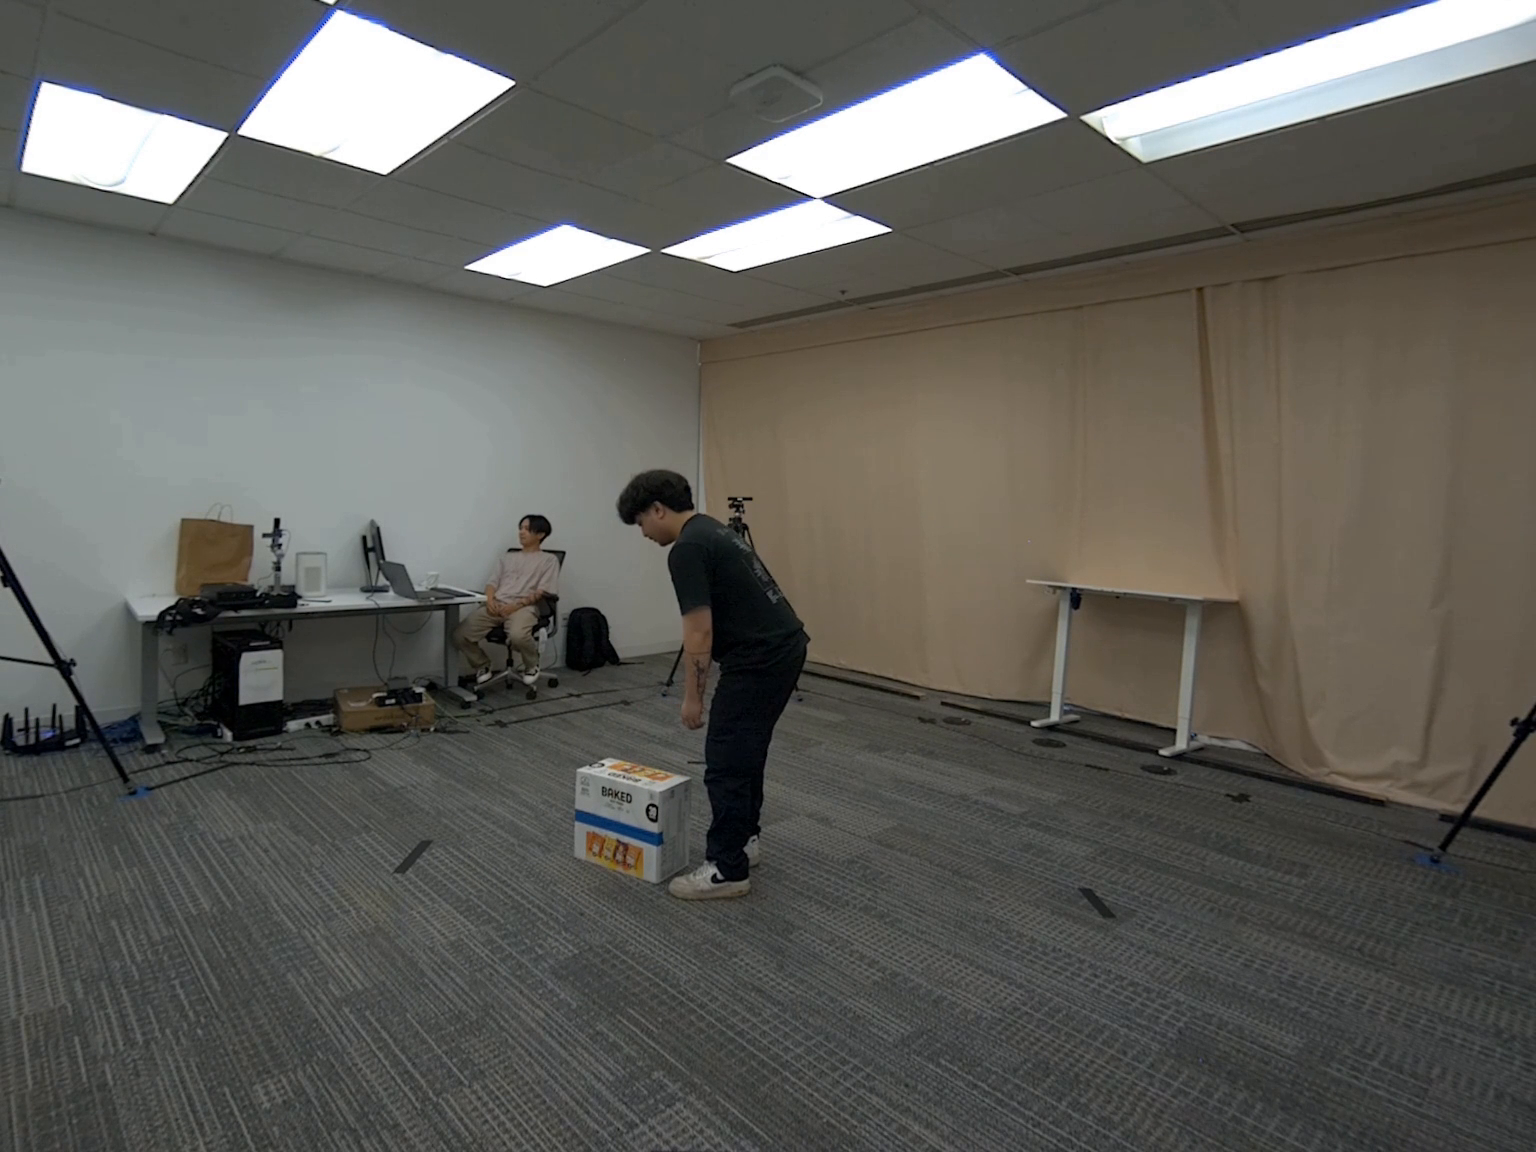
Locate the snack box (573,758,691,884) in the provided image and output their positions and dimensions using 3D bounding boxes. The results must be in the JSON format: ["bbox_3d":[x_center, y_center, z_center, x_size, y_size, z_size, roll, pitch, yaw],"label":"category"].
[{"bbox_3d":[-0.522,0.916,3.209,0.414,0.339,0.201,5,4,31],"label":"snack box"}]
